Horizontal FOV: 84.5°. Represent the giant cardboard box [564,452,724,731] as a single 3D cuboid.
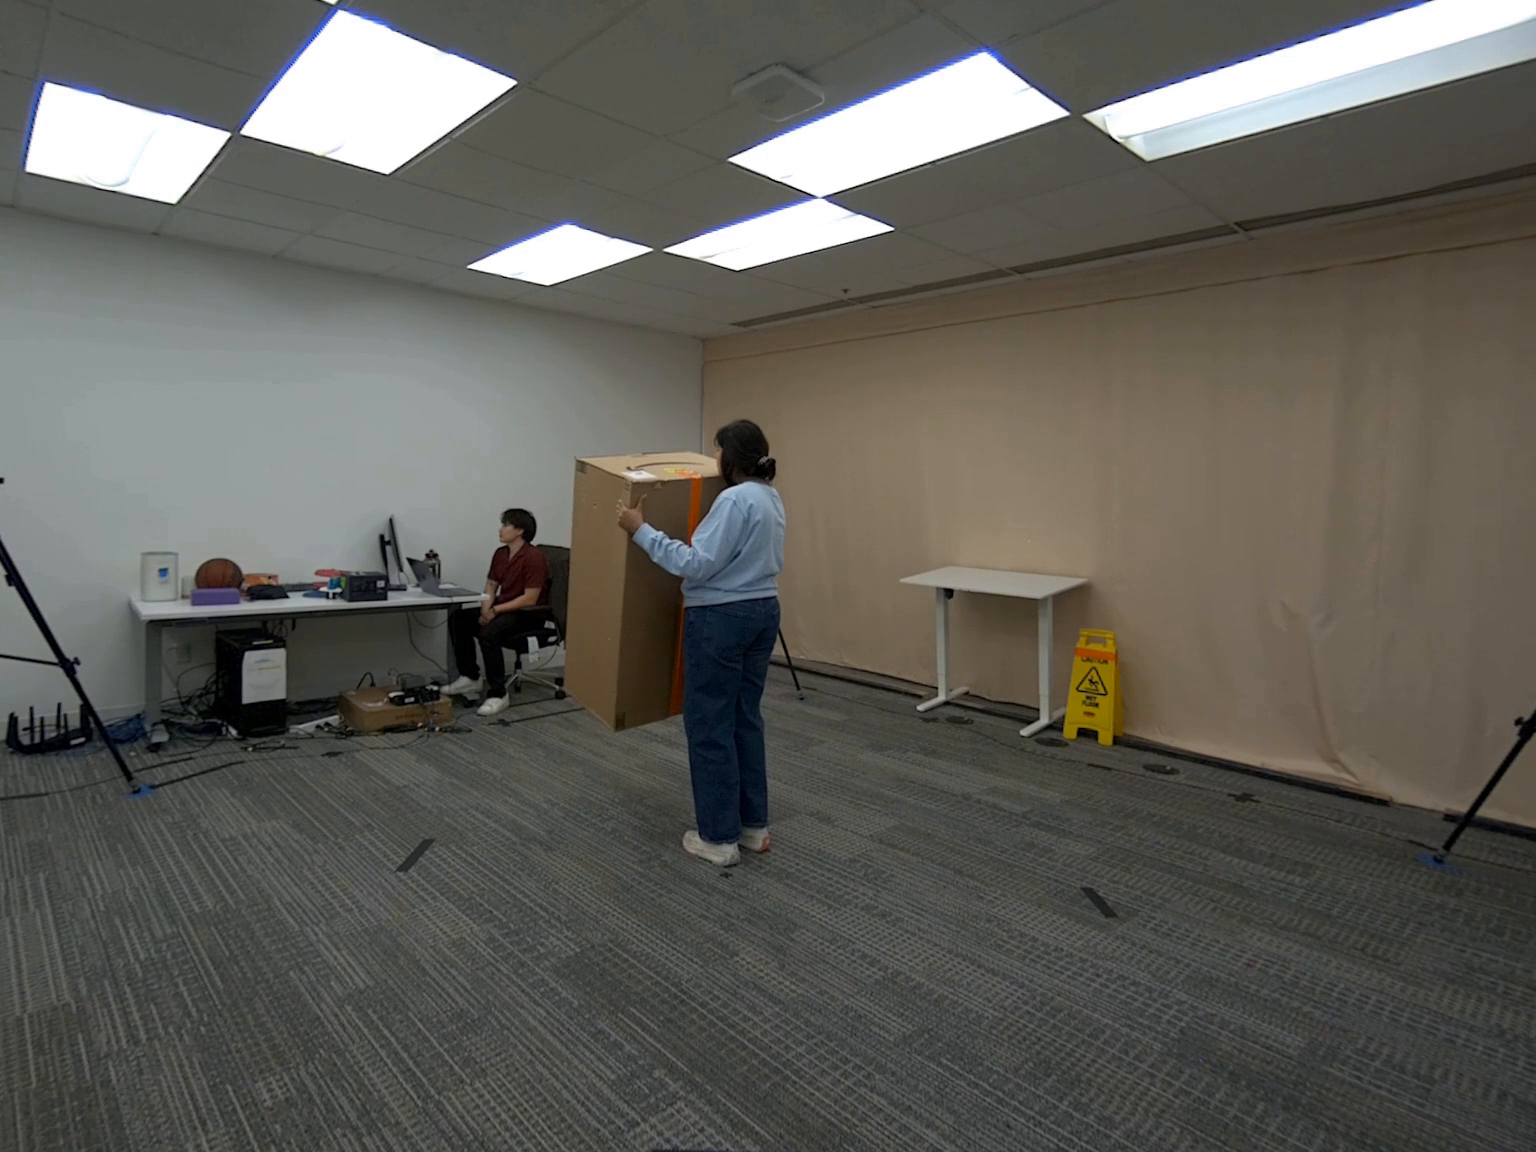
[{"bbox_3d":[-0.479,0.037,3.504,0.572,1.016,0.460,-8,22,-40],"label":"giant cardboard box"}]
